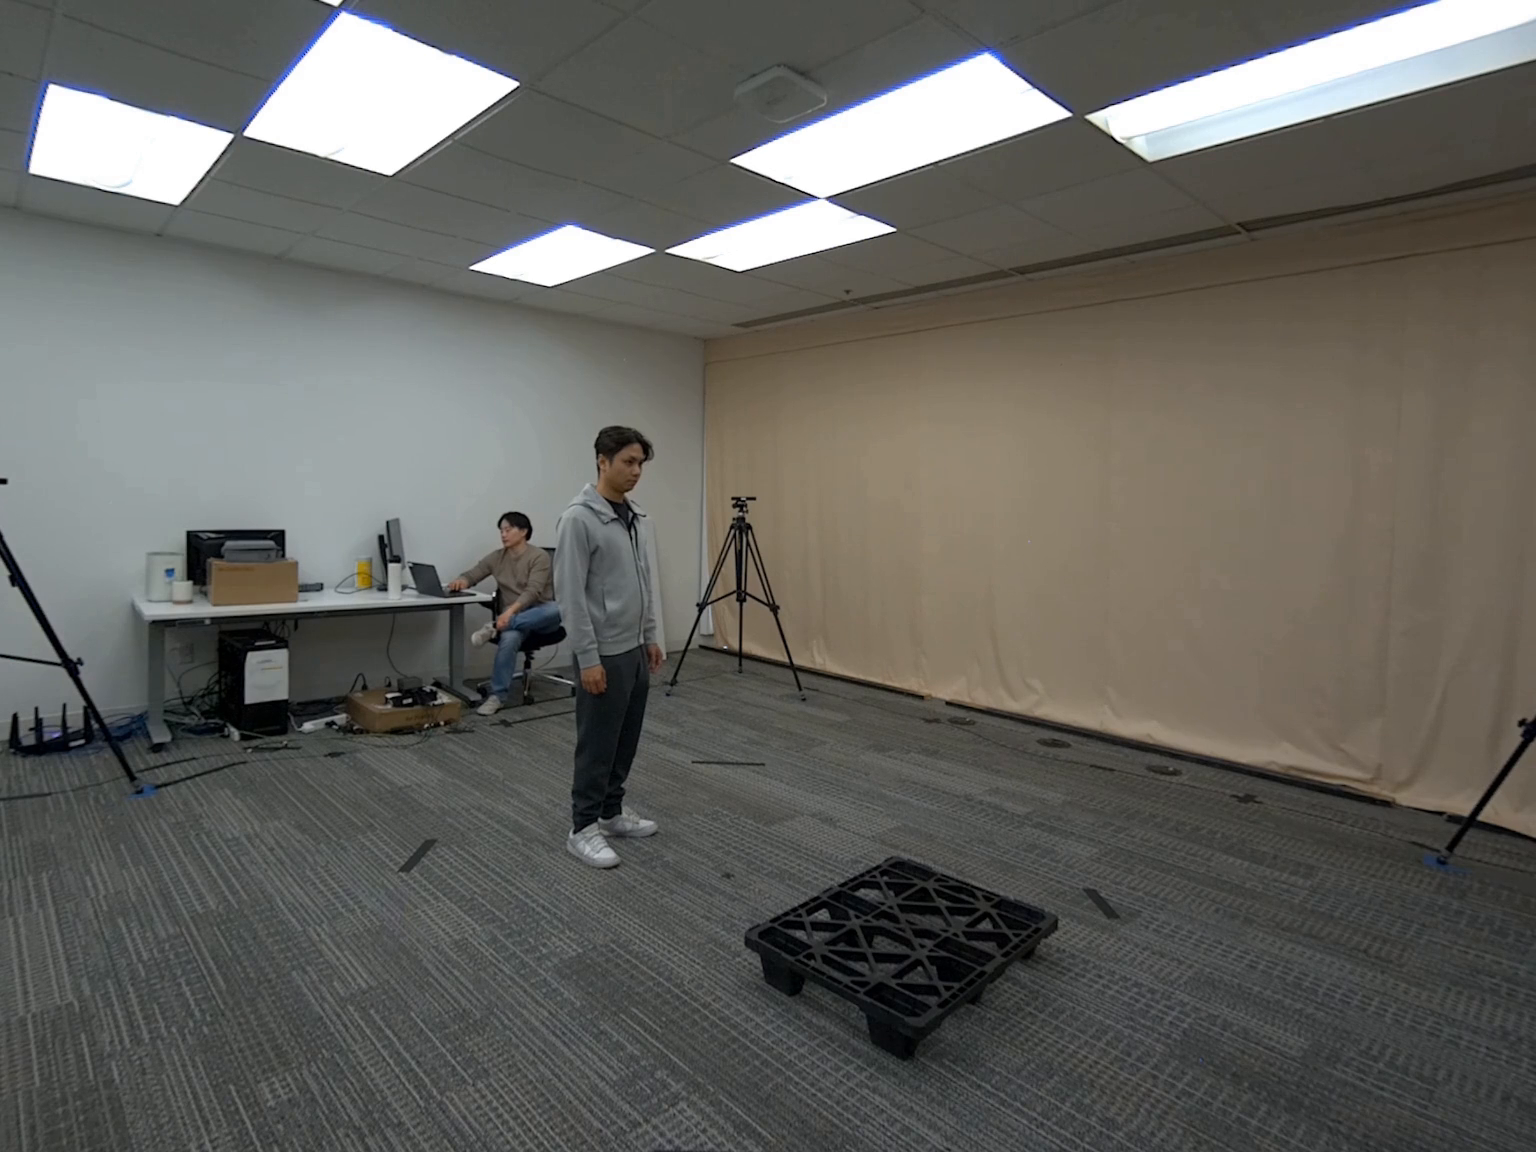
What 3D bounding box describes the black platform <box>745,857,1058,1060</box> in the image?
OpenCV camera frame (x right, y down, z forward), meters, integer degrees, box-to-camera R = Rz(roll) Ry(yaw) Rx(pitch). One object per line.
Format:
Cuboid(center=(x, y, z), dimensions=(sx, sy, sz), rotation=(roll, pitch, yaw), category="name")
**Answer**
Cuboid(center=(0.396, 1.108, 2.519), dimensions=(0.621, 0.143, 0.787), rotation=(6, 7, 43), category="black platform")
